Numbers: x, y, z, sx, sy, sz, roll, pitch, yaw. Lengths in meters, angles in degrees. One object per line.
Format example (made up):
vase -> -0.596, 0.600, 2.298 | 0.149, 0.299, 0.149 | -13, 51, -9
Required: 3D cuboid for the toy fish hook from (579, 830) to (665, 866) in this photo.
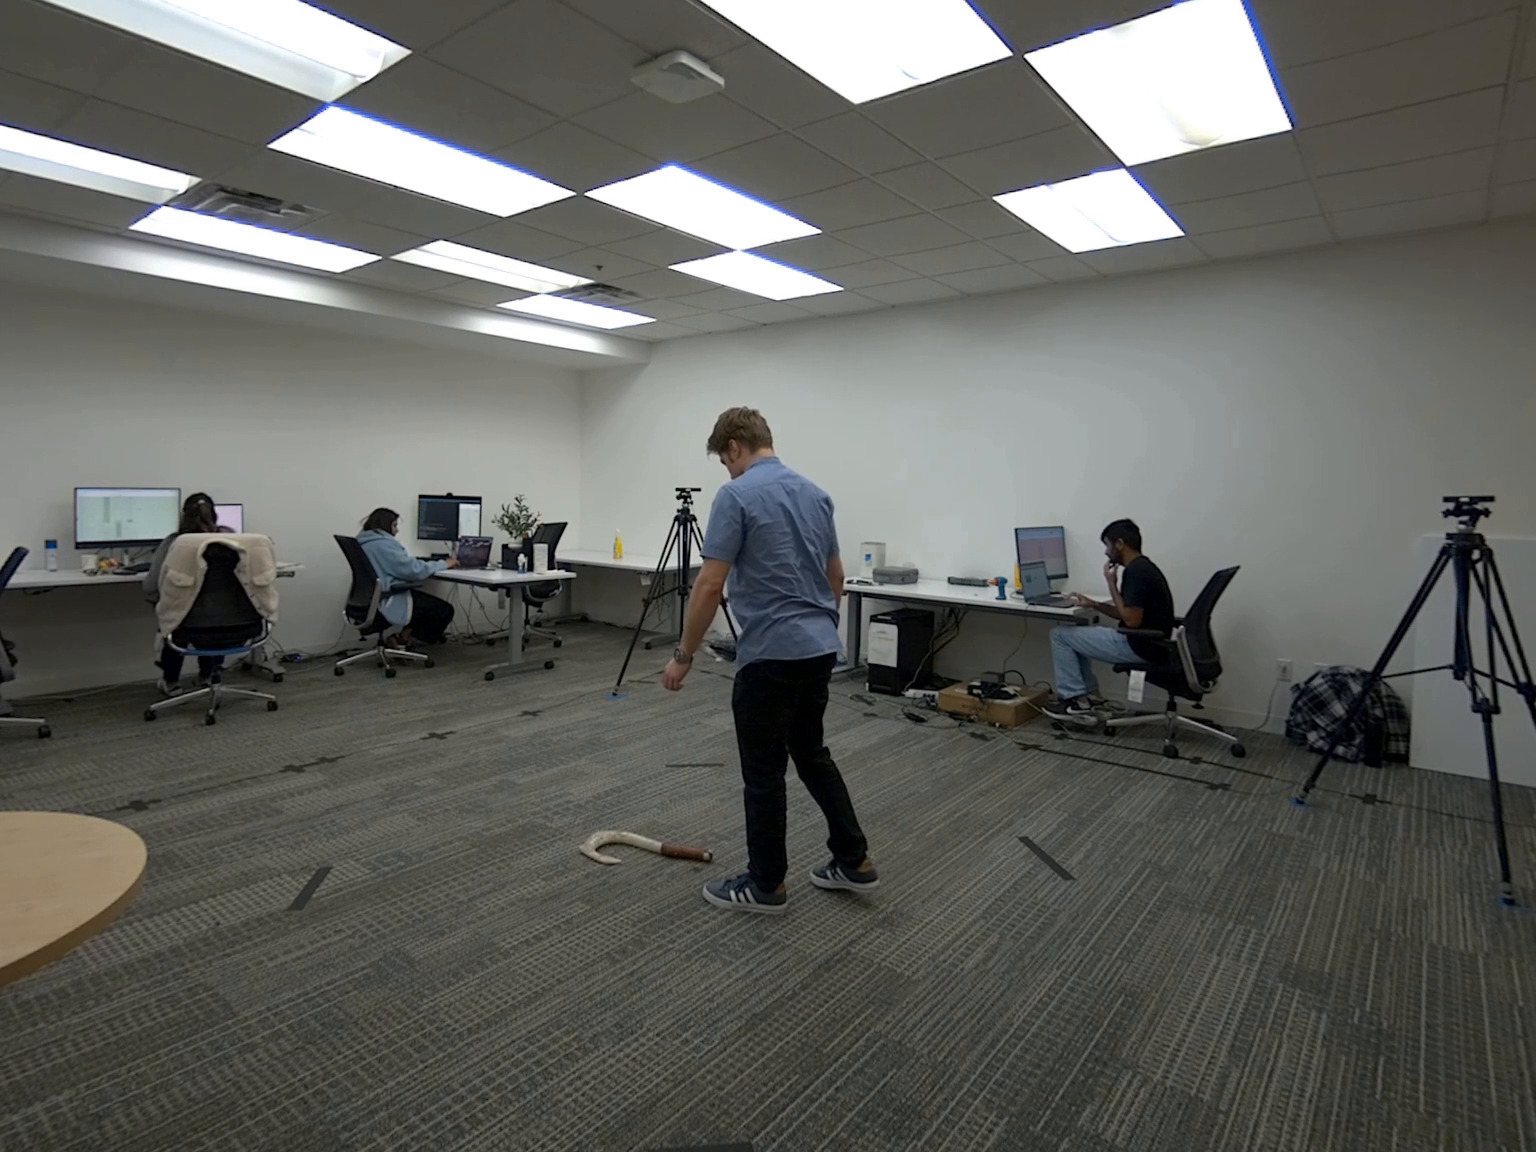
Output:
toy fish hook -> -0.472, 1.041, 3.200 | 0.517, 0.048, 0.223 | 2, 14, 18
